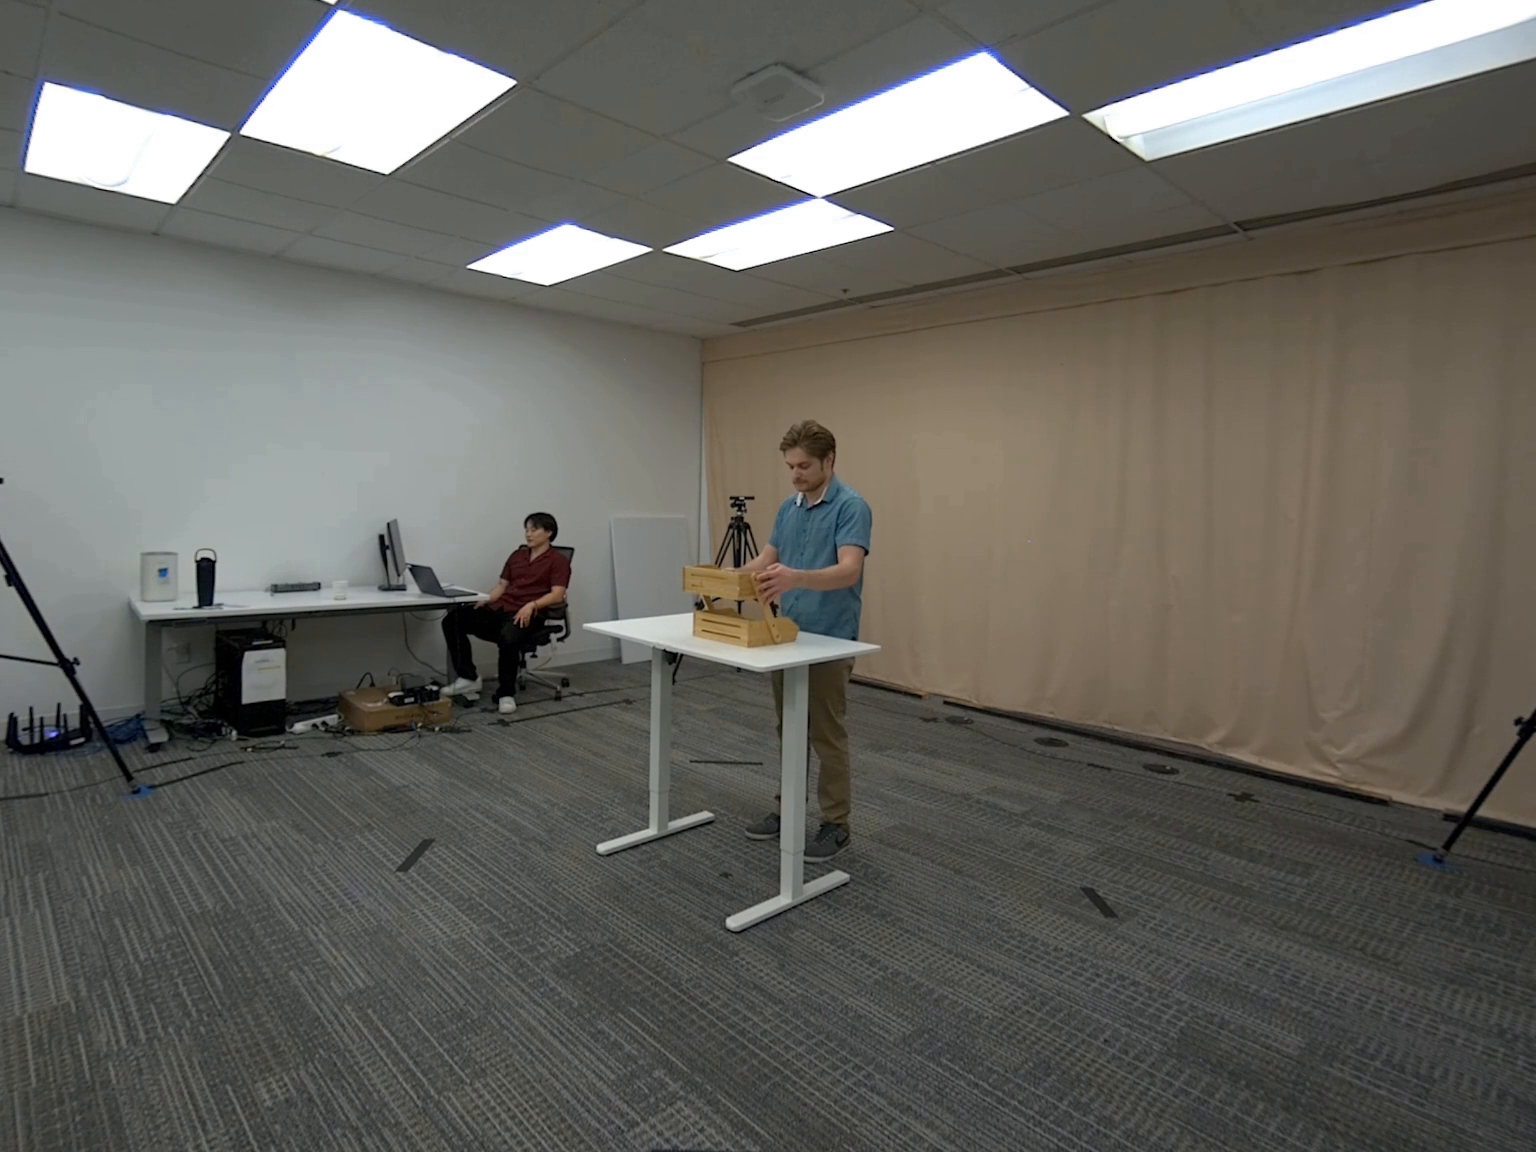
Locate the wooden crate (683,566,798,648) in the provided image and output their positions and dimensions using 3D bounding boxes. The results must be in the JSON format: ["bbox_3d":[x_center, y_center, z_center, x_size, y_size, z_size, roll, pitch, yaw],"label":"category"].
[{"bbox_3d":[-0.103,0.098,3.035,0.295,0.272,0.333,-4,7,-44],"label":"wooden crate"}]
